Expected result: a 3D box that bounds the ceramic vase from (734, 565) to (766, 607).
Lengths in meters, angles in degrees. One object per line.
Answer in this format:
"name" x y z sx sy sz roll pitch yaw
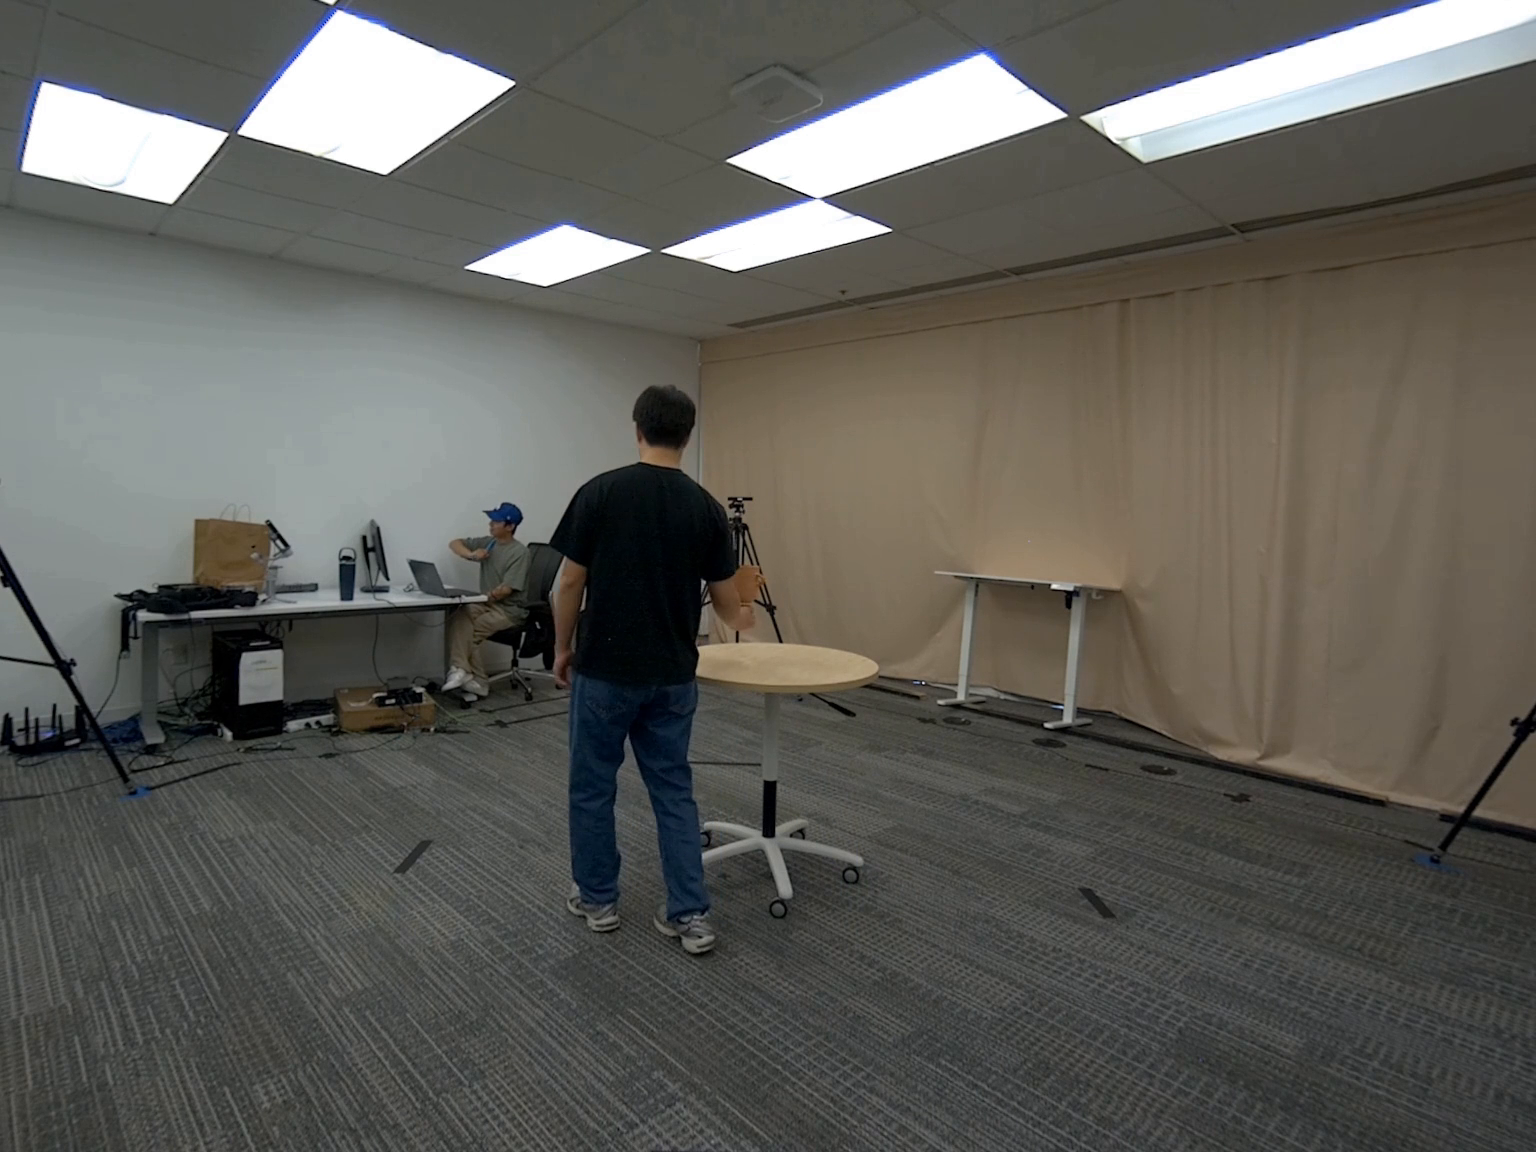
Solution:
"ceramic vase" -0.112 0.074 3.068 0.133 0.220 0.161 3 1 -19
